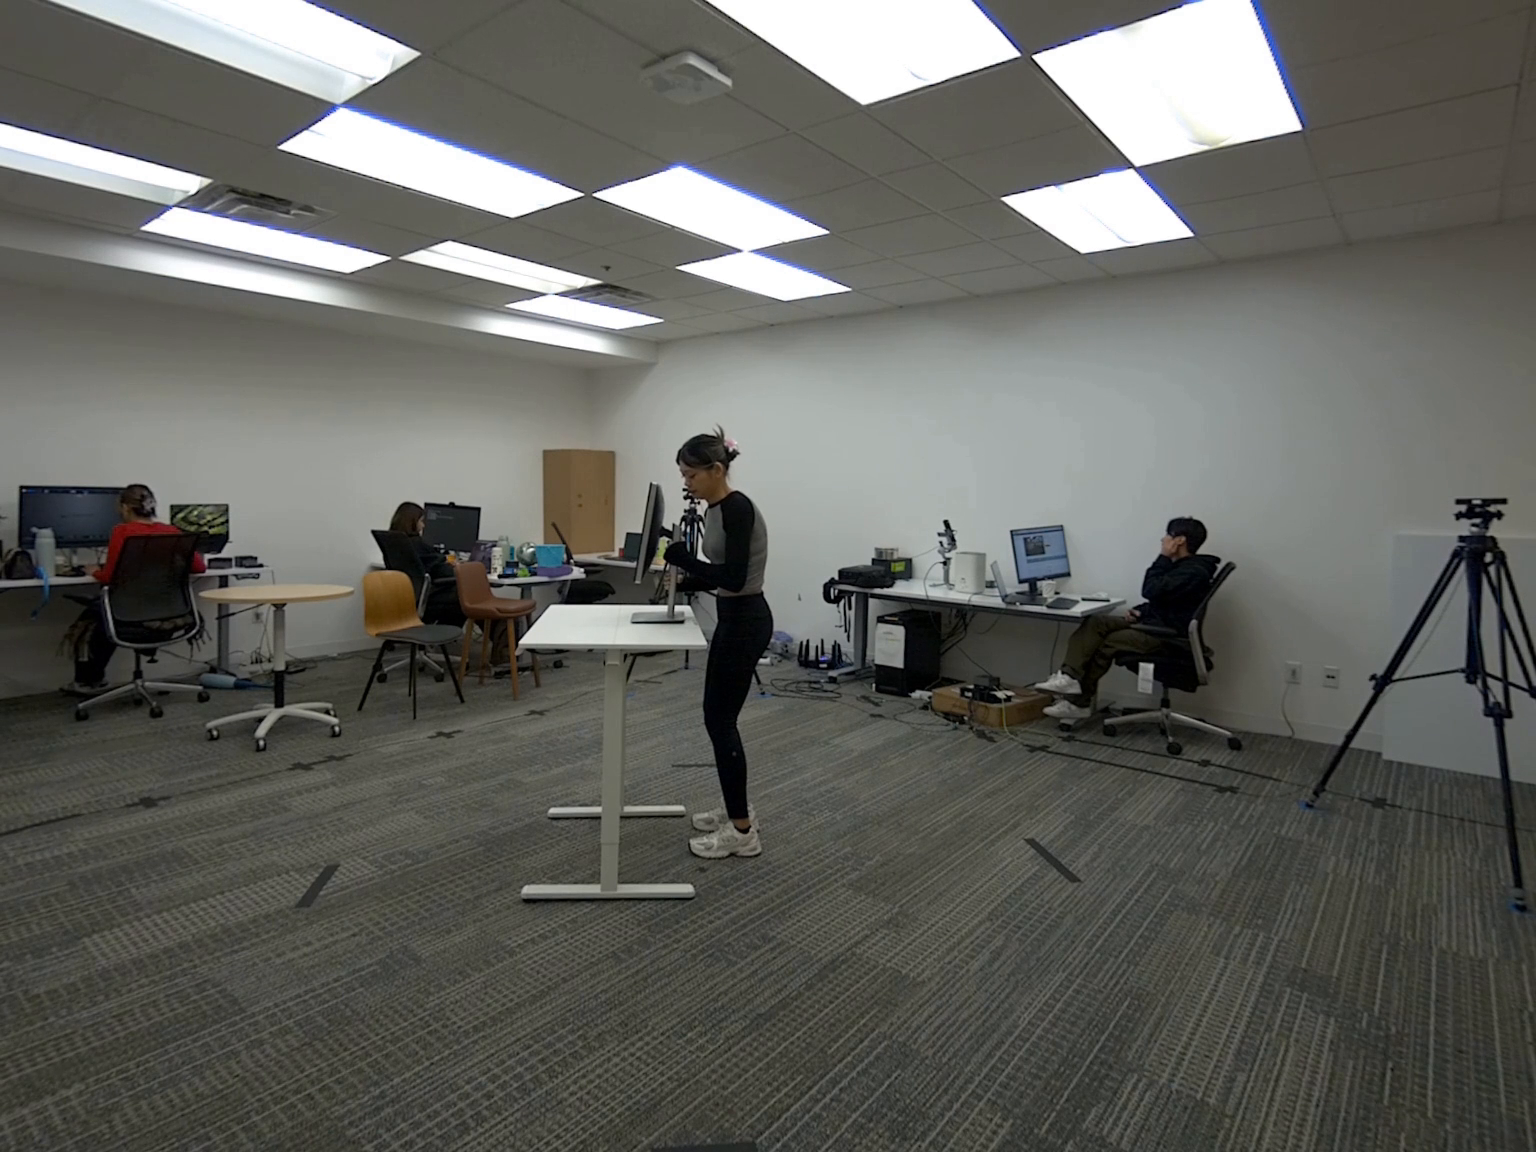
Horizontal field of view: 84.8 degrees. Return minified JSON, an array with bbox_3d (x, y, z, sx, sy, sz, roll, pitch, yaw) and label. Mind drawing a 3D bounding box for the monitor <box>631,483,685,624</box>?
[{"bbox_3d":[-0.436,-0.088,3.287,0.186,0.521,0.544,-2,3,-7],"label":"monitor"}]
